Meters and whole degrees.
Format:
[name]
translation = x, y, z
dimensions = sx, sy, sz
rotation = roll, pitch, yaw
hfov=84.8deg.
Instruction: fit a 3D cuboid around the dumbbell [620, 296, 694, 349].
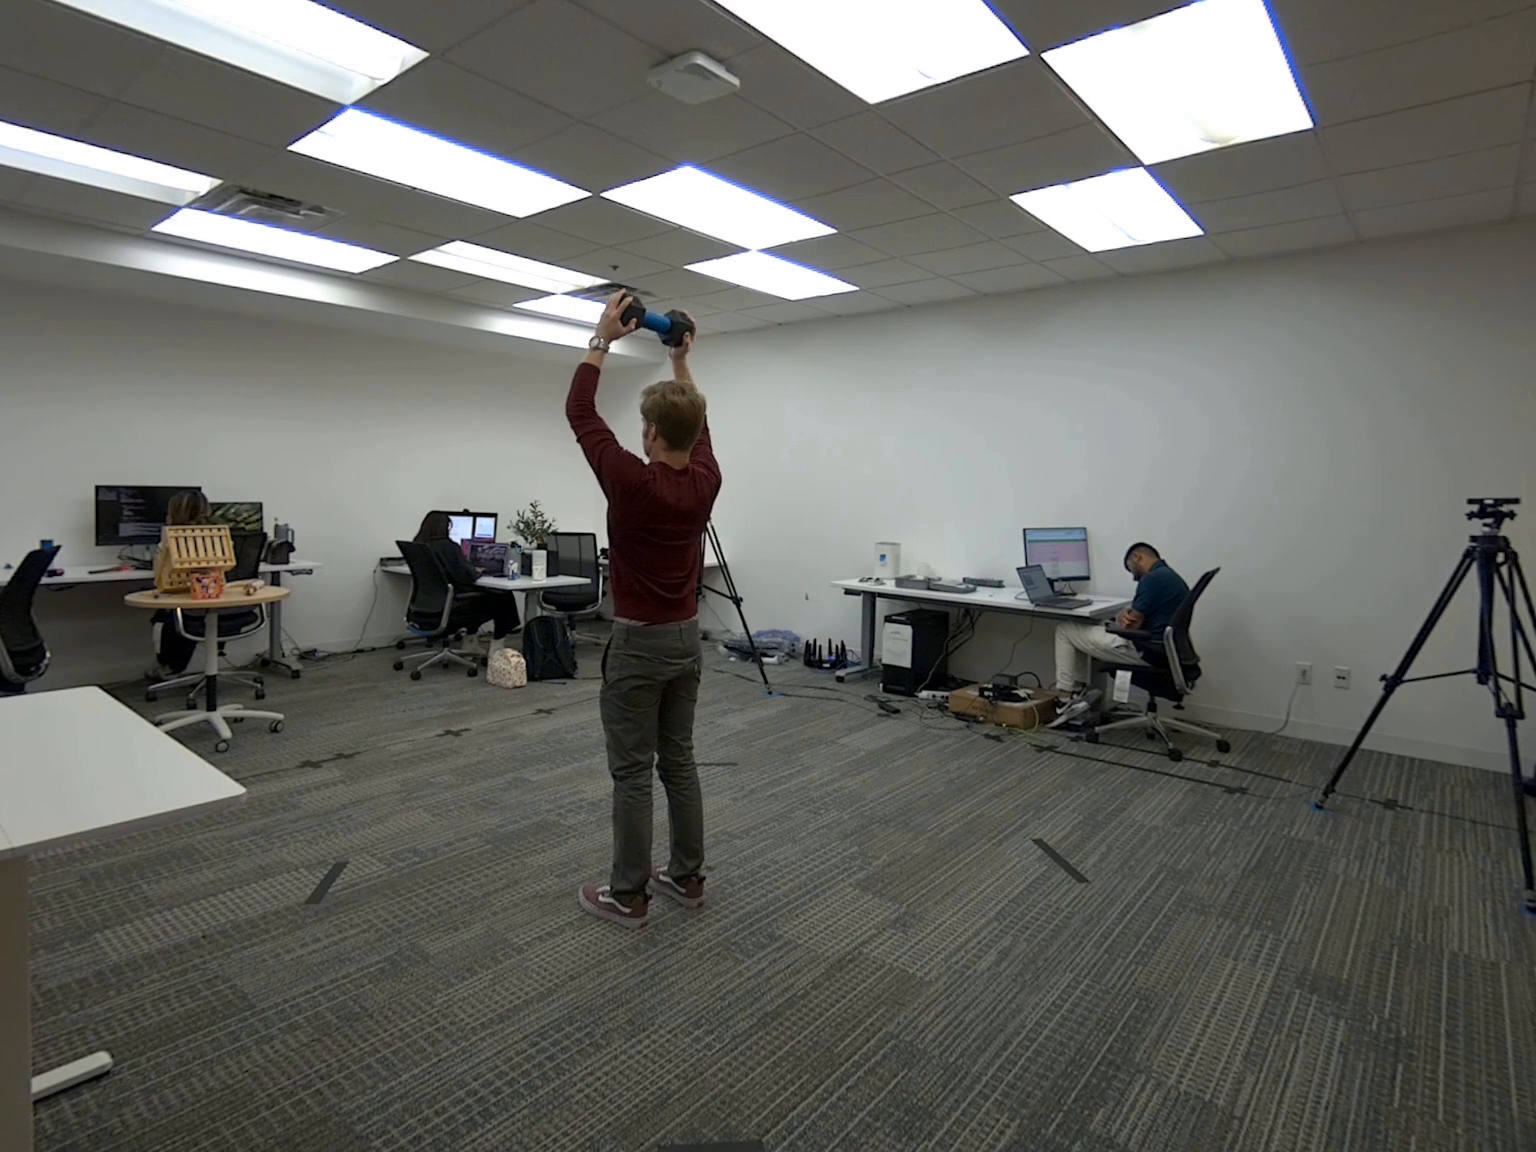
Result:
[dumbbell]
translation = -0.399, -0.843, 2.815
dimensions = 0.284, 0.122, 0.113
rotation = 4, 19, -46
